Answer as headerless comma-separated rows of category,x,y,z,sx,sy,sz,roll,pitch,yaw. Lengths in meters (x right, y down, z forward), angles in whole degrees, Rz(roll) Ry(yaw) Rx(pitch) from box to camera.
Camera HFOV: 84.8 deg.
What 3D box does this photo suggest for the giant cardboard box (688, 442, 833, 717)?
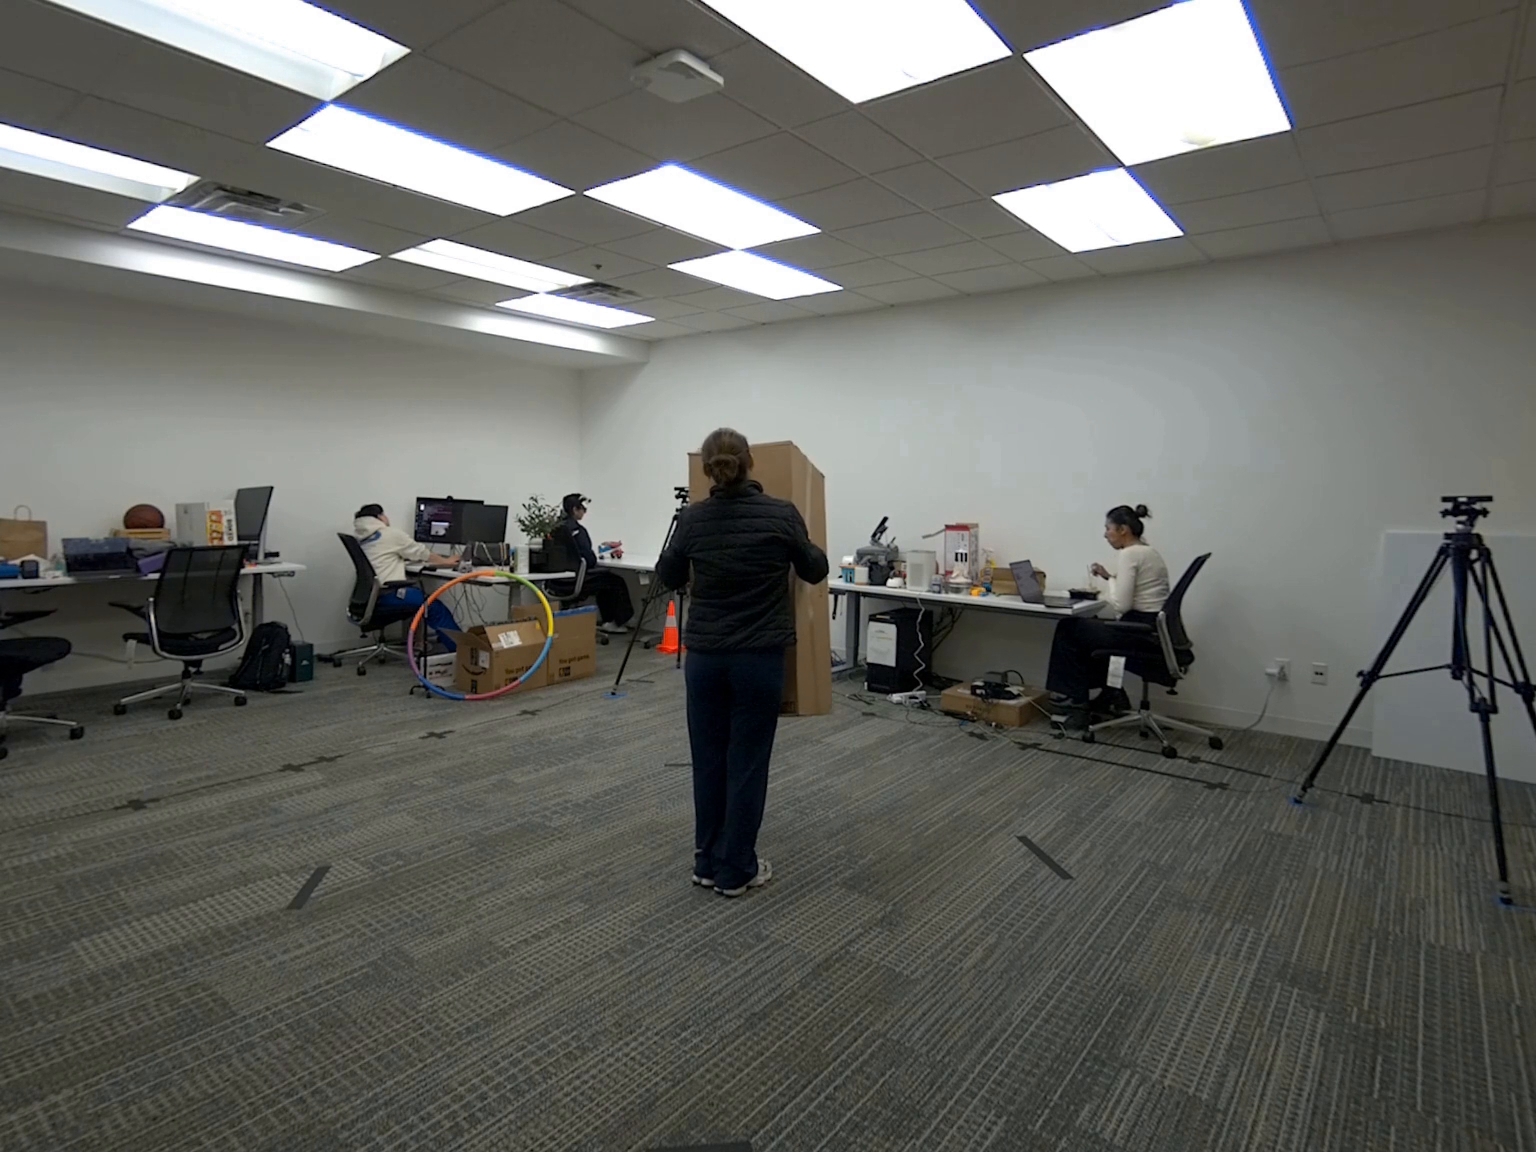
giant cardboard box,0.001,0.037,3.462,0.434,1.037,0.561,-5,-11,19
